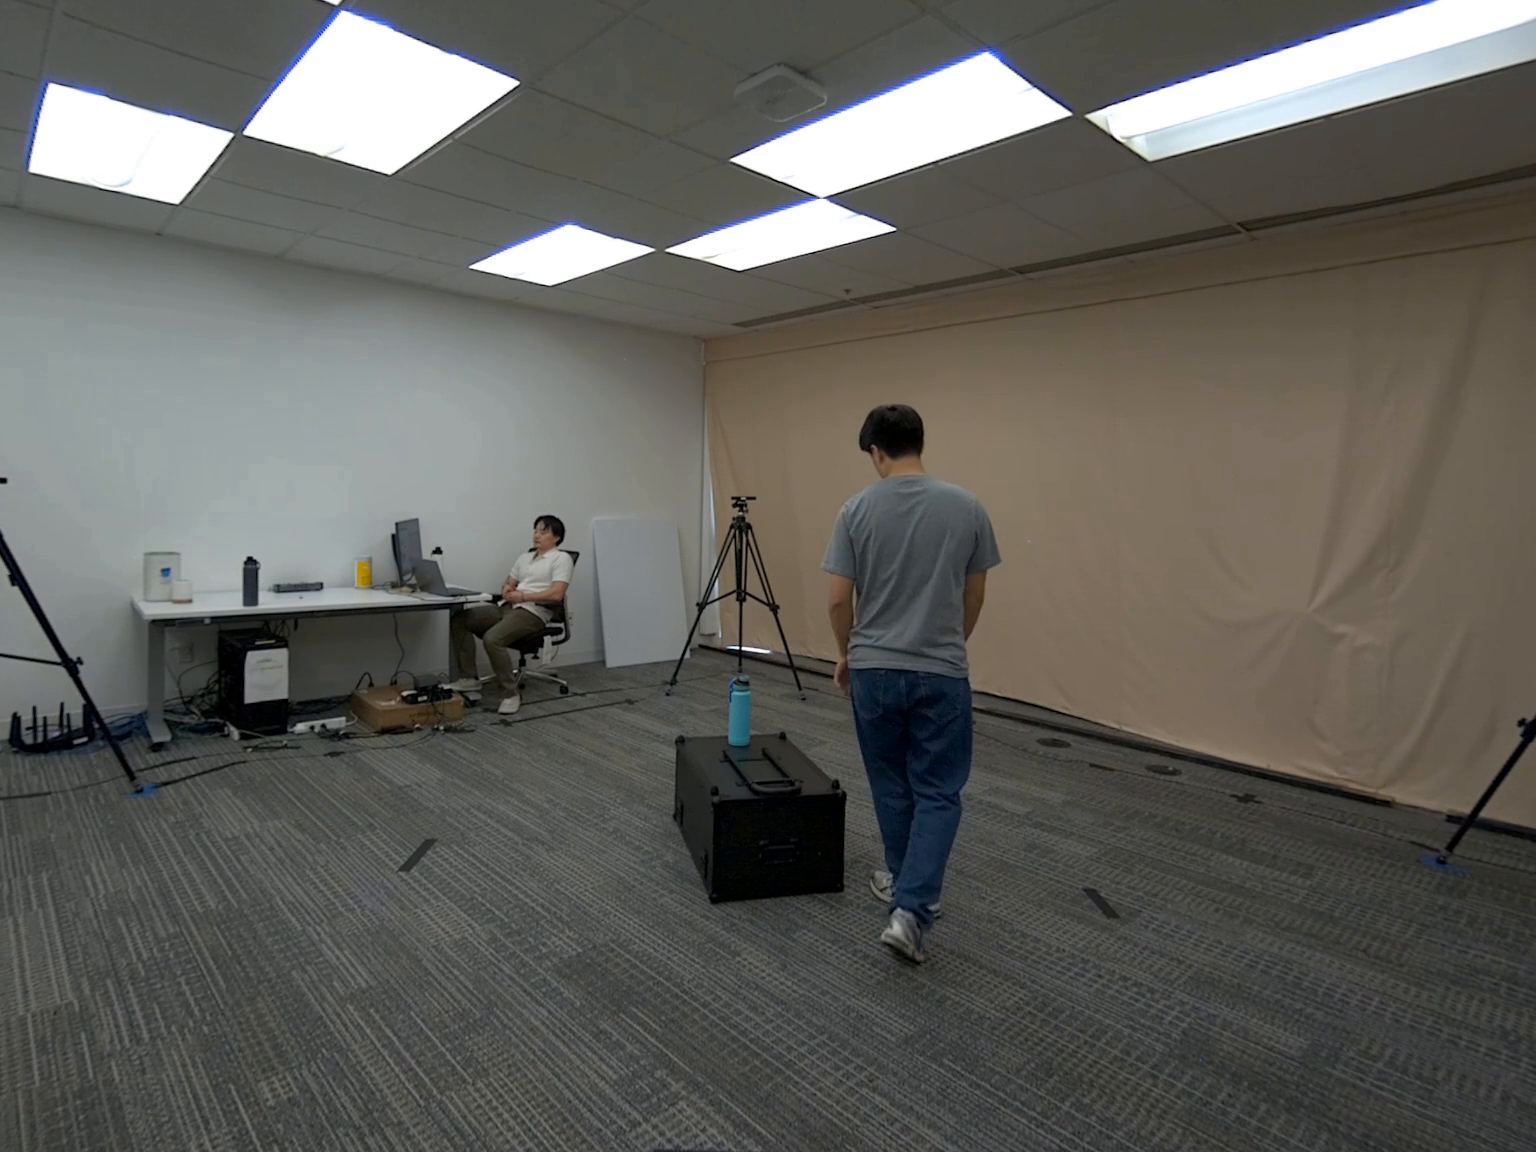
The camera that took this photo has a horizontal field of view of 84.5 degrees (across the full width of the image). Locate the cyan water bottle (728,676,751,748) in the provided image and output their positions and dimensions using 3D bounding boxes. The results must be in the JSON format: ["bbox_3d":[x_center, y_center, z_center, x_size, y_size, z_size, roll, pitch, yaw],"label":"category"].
[{"bbox_3d":[-0.129,0.566,3.557,0.092,0.282,0.092,-1,4,-1],"label":"cyan water bottle"}]
